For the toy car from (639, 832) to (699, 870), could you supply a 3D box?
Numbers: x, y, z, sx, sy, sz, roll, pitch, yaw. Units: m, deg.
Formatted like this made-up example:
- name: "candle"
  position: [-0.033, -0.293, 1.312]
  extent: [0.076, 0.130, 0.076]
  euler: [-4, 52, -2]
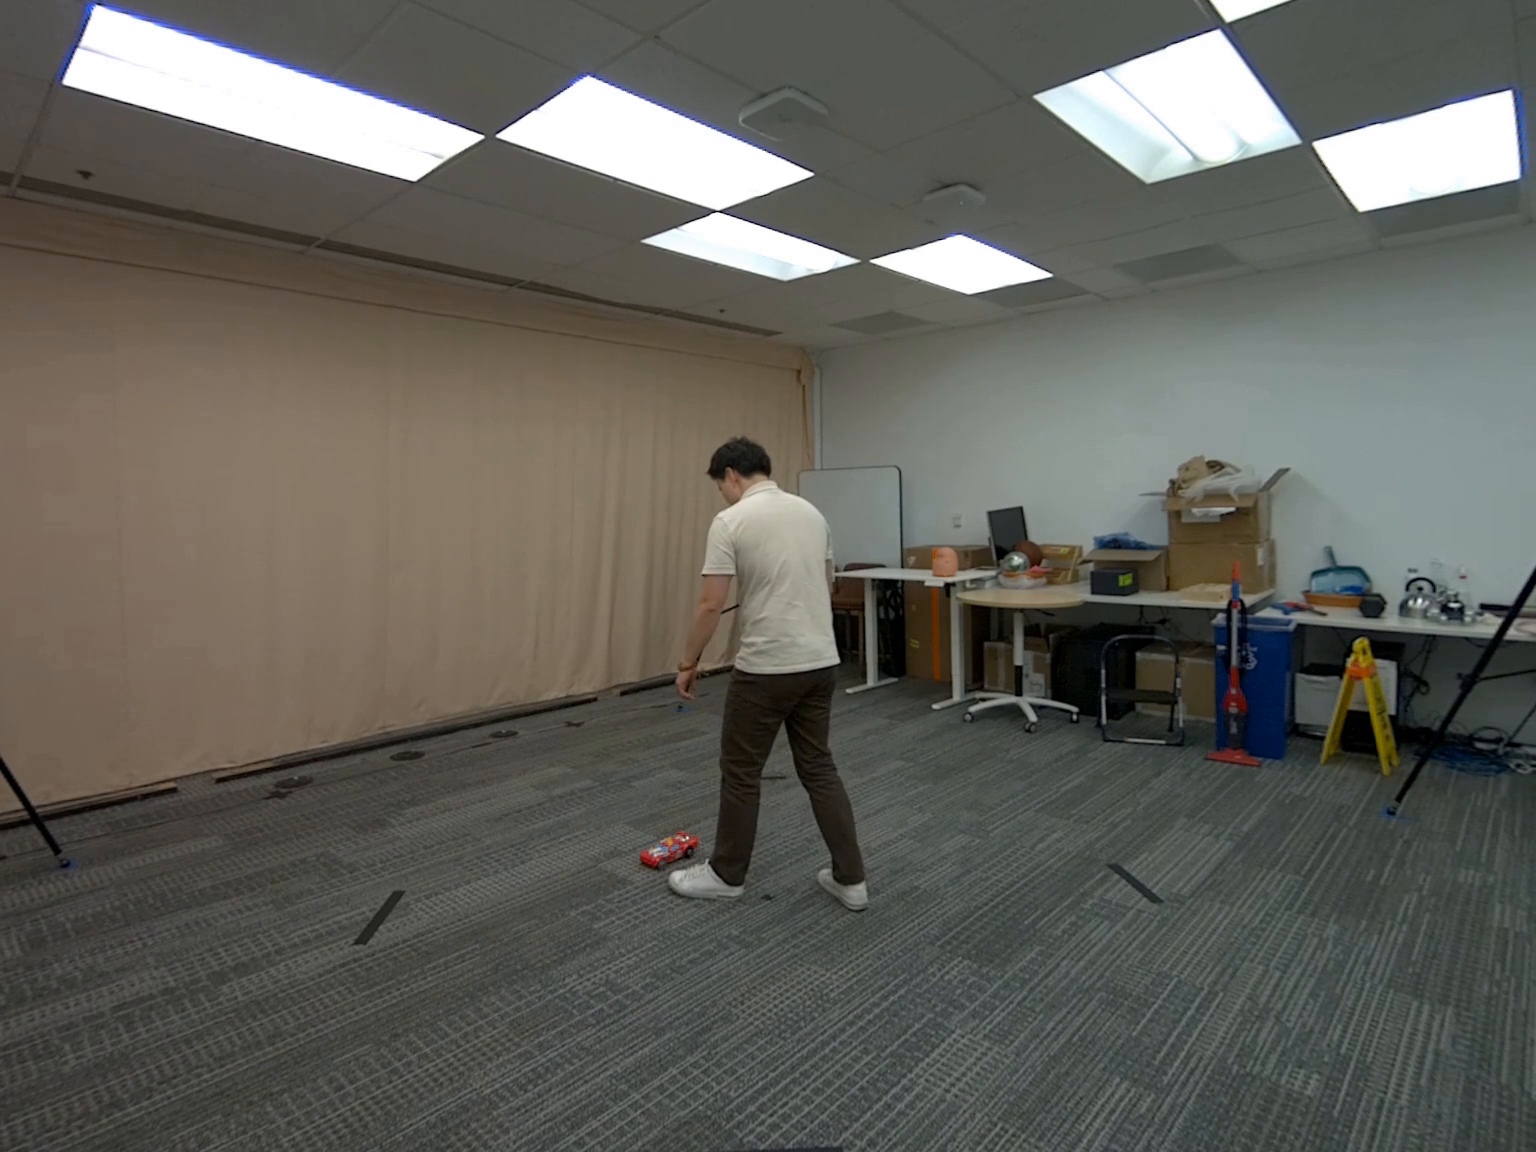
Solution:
- name: "toy car"
  position: [-0.385, 1.086, 3.327]
  extent: [0.134, 0.082, 0.248]
  euler: [2, 17, 44]
